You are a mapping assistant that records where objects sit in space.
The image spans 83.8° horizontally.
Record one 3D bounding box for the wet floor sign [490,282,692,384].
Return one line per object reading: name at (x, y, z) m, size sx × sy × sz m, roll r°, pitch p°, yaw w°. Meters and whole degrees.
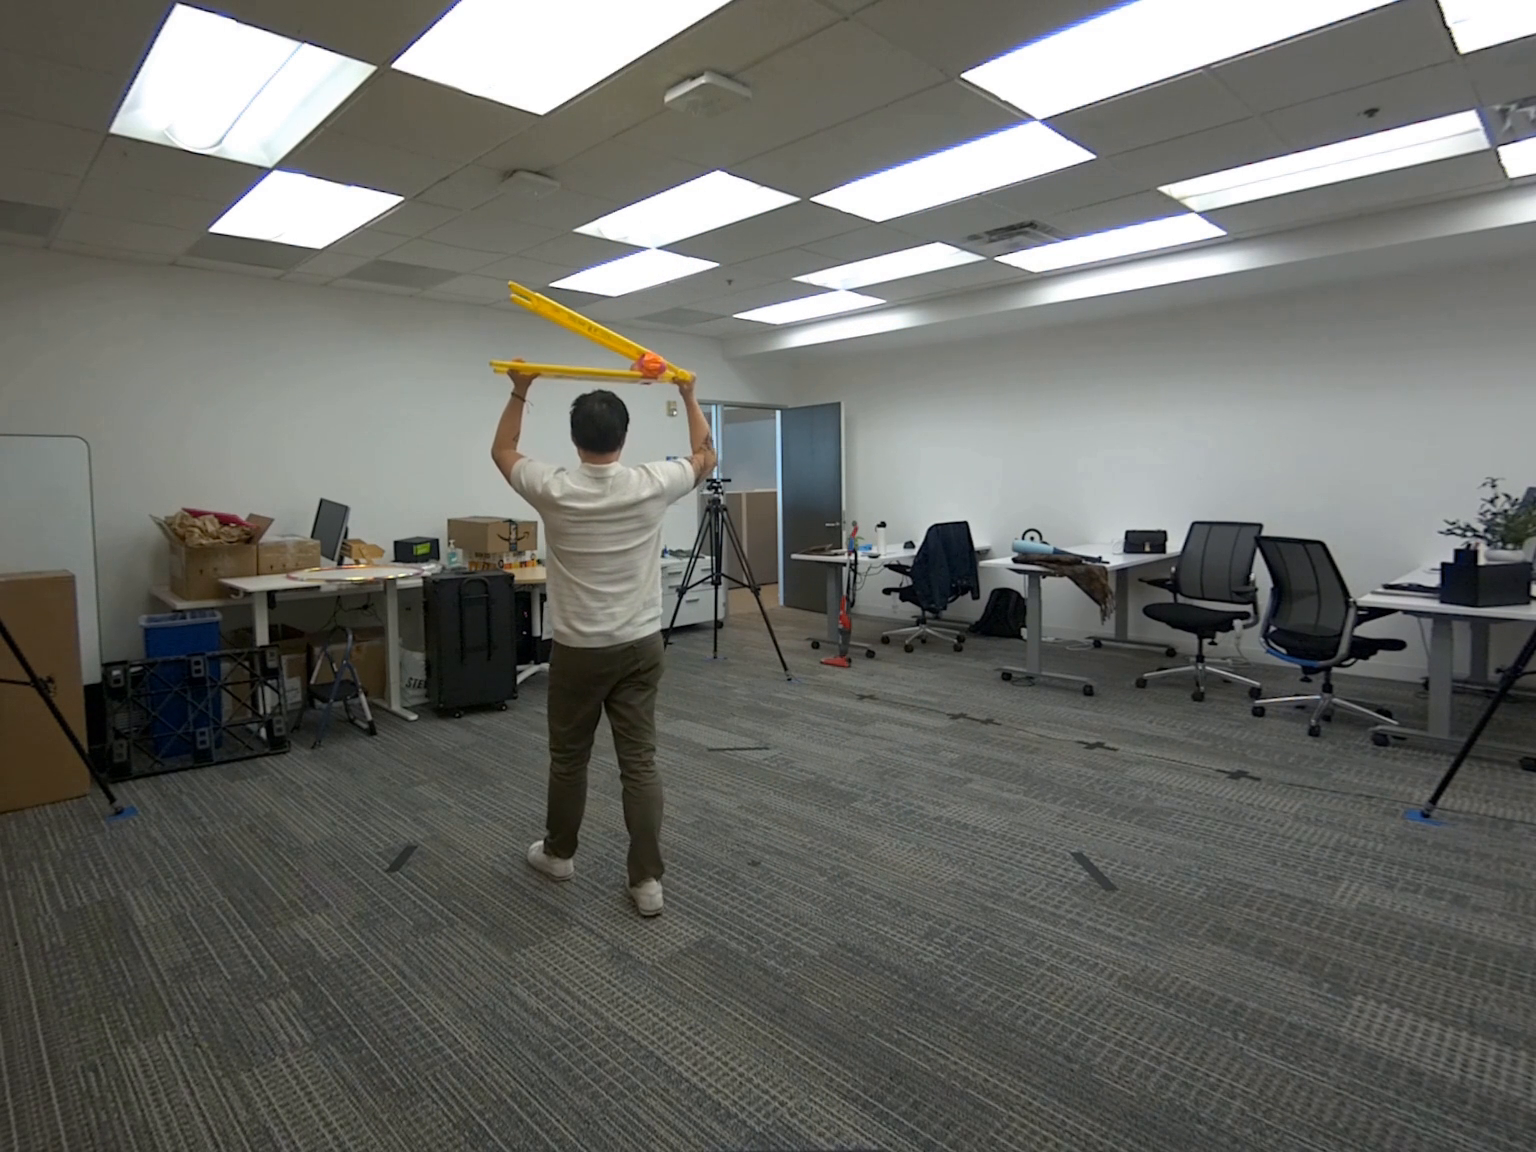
wet floor sign at (-0.588, -0.756, 2.917) m, size 0.638 × 0.289 × 0.286 m, roll 13°, pitch 2°, yaw -11°
